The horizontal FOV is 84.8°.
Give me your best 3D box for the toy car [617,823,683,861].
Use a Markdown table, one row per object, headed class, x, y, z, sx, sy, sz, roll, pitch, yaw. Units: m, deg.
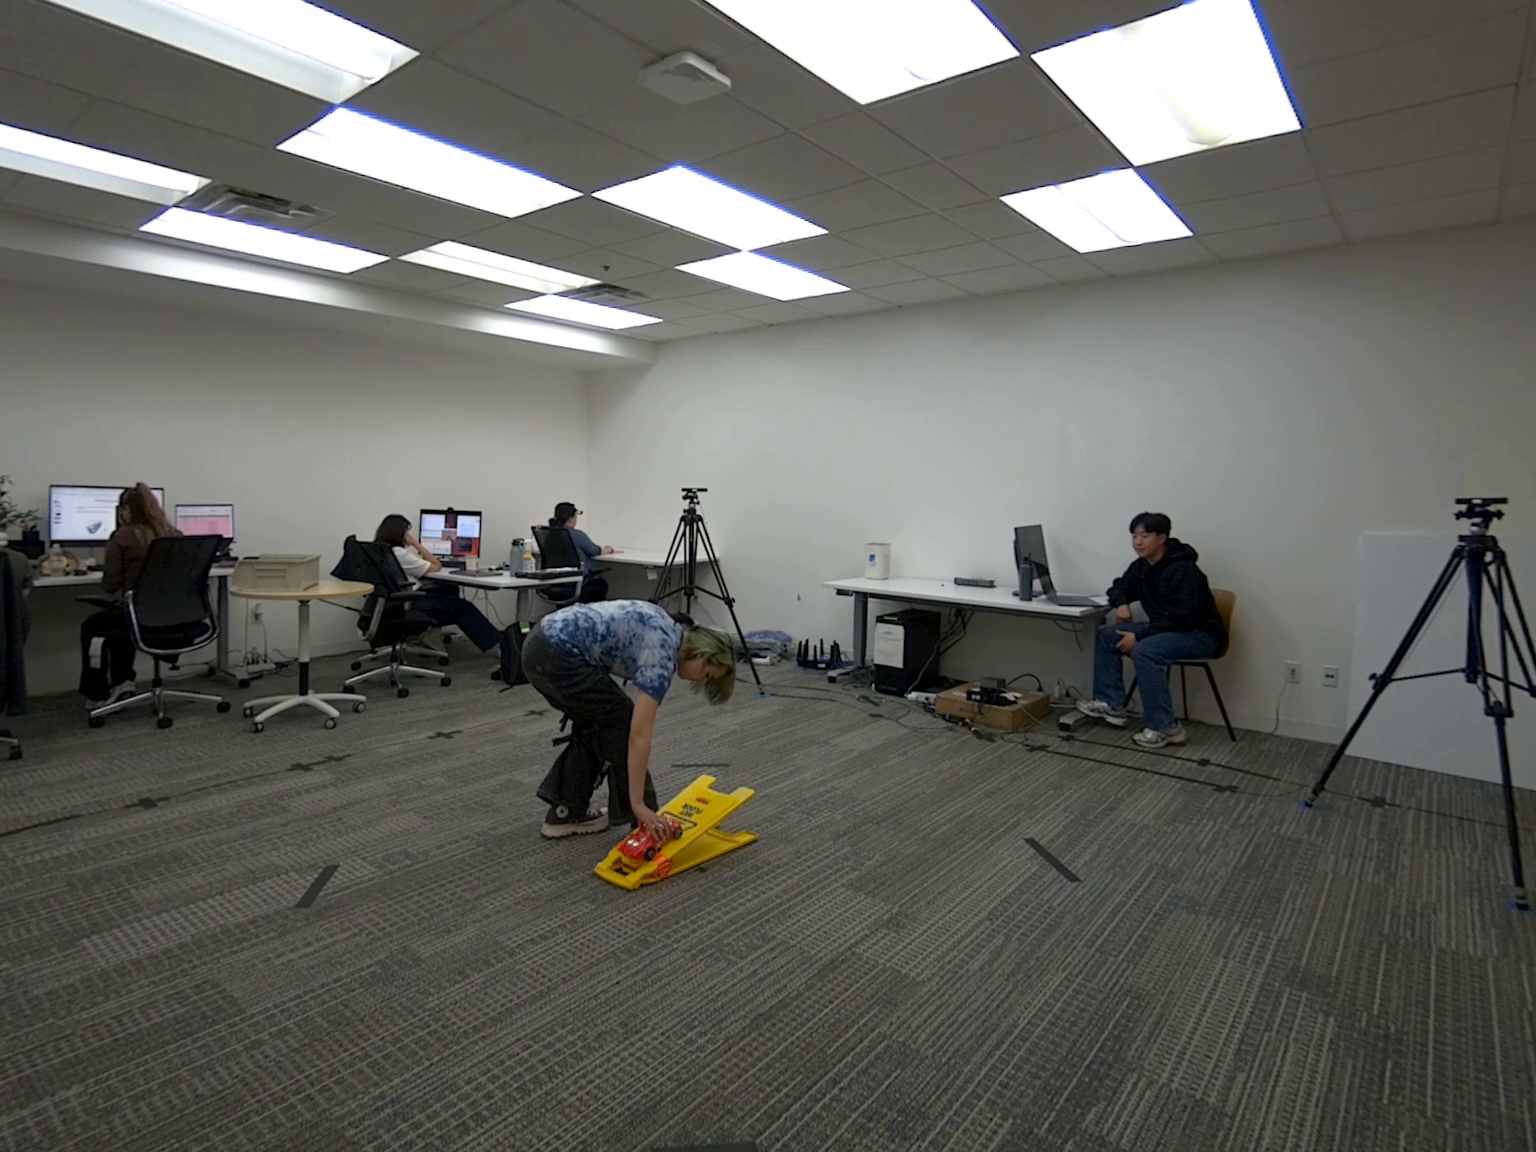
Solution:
| class | x | y | z | sx | sy | sz | roll | pitch | yaw |
| --- | --- | --- | --- | --- | --- | --- | --- | --- | --- |
| toy car | -0.441 | 0.956 | 3.083 | 0.135 | 0.082 | 0.248 | 7 | 14 | 41 |
